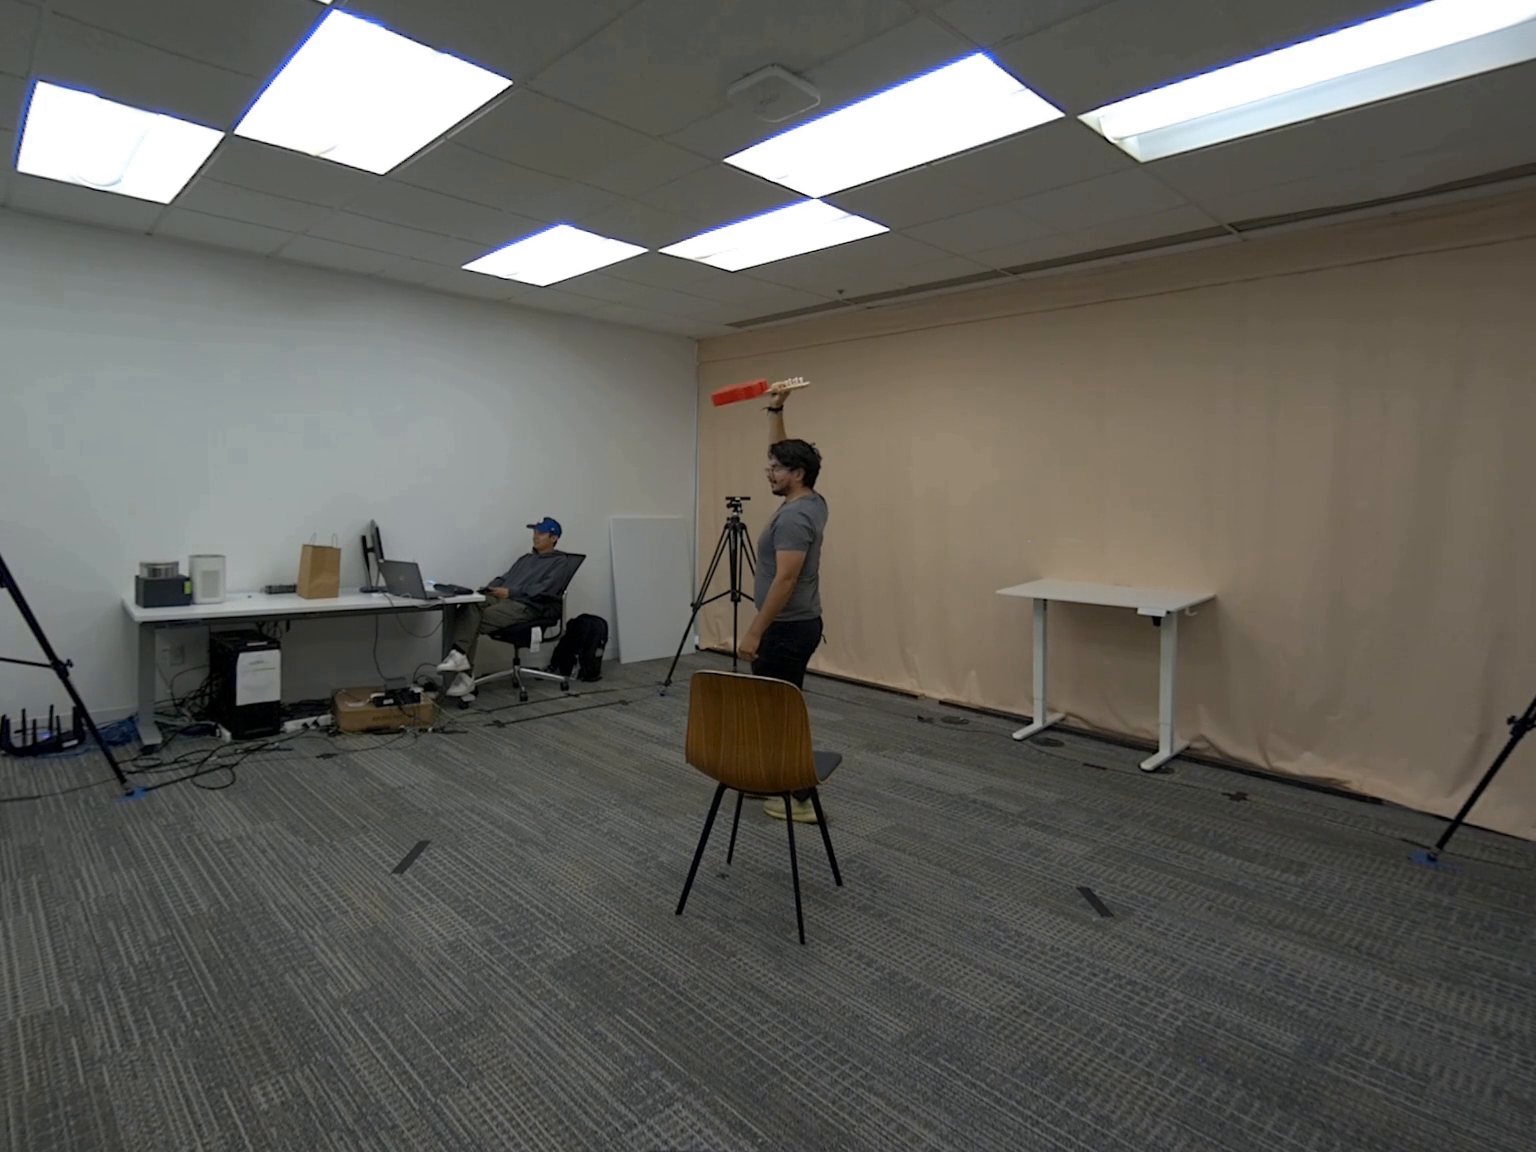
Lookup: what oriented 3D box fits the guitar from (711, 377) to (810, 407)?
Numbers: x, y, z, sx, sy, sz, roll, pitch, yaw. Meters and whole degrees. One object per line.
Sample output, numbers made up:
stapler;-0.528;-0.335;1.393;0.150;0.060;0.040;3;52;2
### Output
guitar;-0.026;-0.856;3.814;0.506;0.069;0.193;-6;22;27
